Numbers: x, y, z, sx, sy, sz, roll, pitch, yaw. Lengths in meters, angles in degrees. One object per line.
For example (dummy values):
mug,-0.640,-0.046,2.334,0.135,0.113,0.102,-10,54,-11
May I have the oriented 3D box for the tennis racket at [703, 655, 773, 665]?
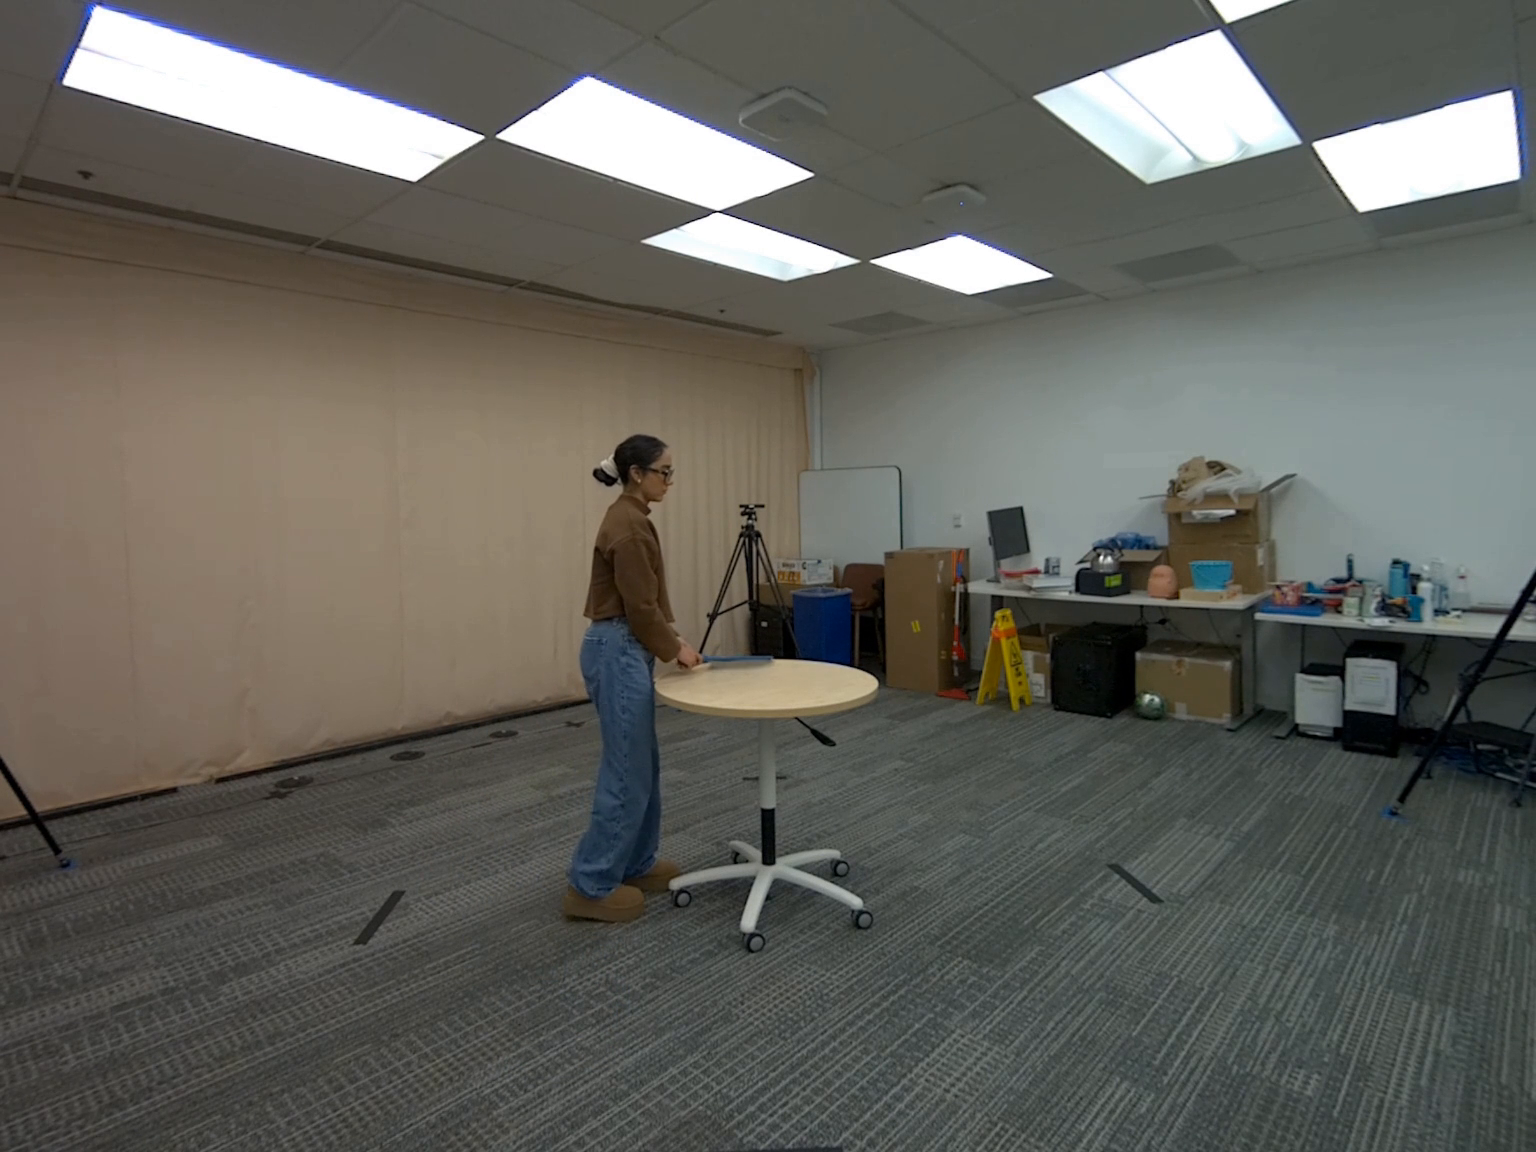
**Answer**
tennis racket,-0.163,0.321,3.169,0.419,0.032,0.220,0,-2,-39
